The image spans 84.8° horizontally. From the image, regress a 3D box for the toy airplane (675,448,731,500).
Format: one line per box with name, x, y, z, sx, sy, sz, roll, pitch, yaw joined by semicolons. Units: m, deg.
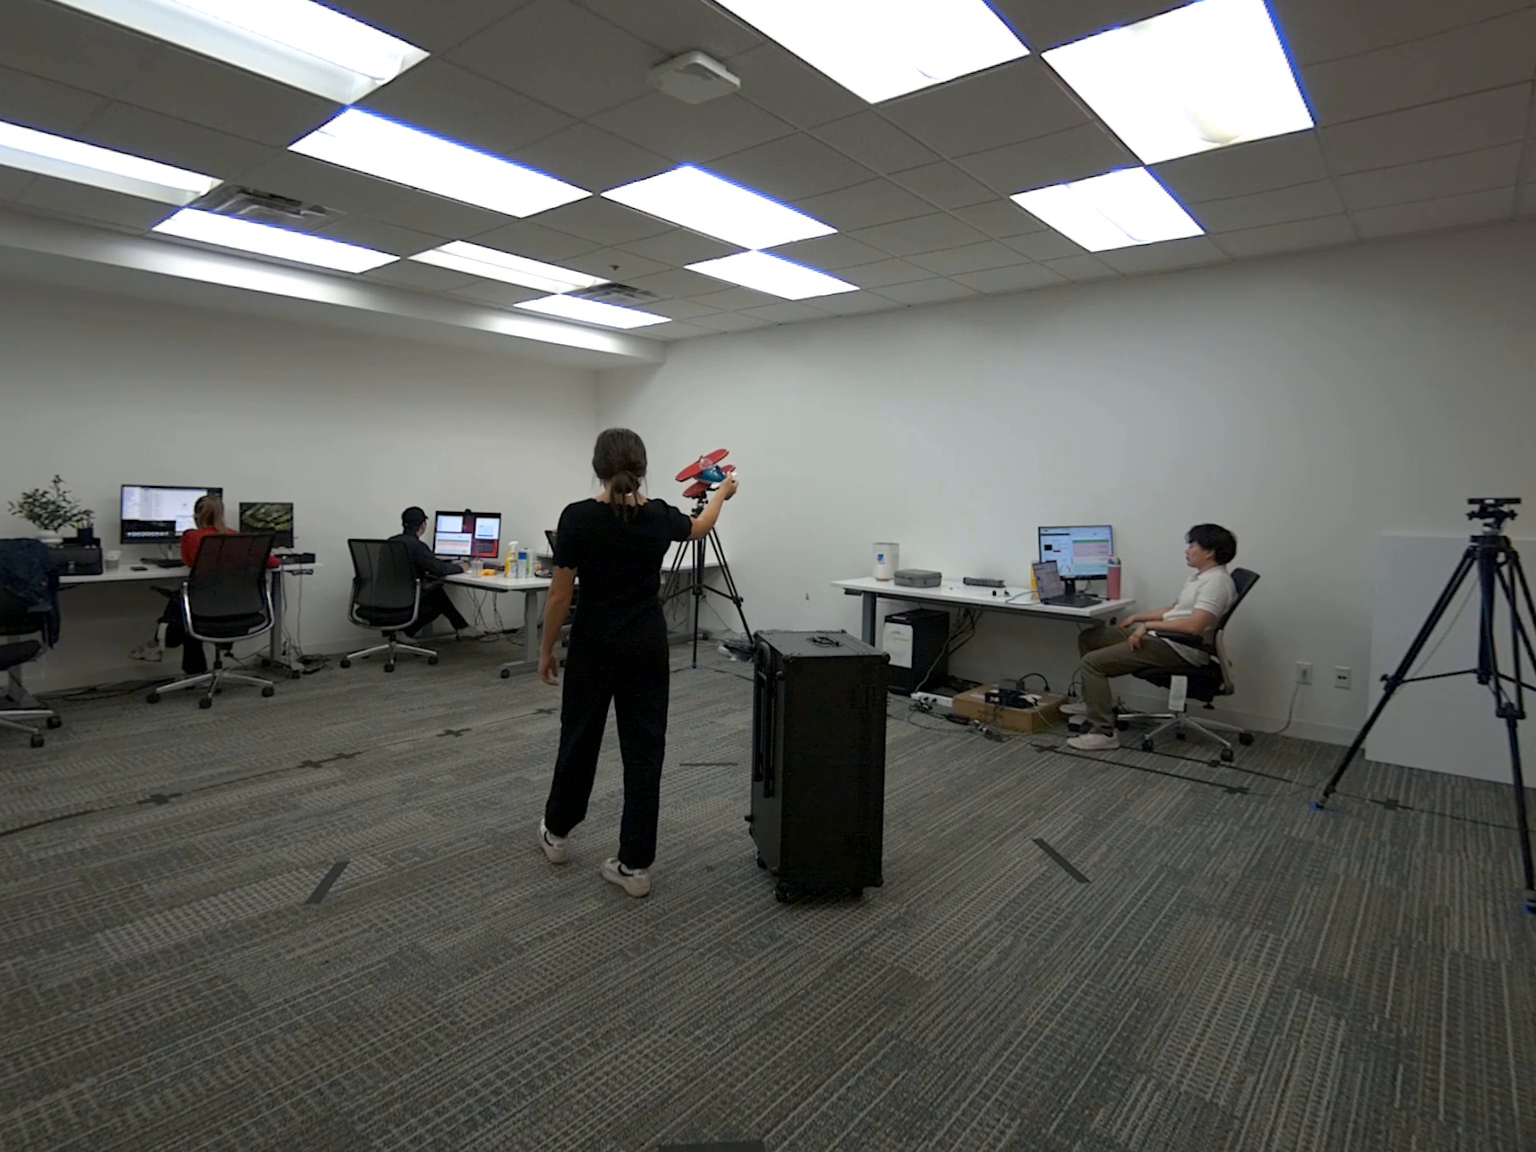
toy airplane;-0.231;-0.427;3.517;0.265;0.153;0.250;-14;22;41
